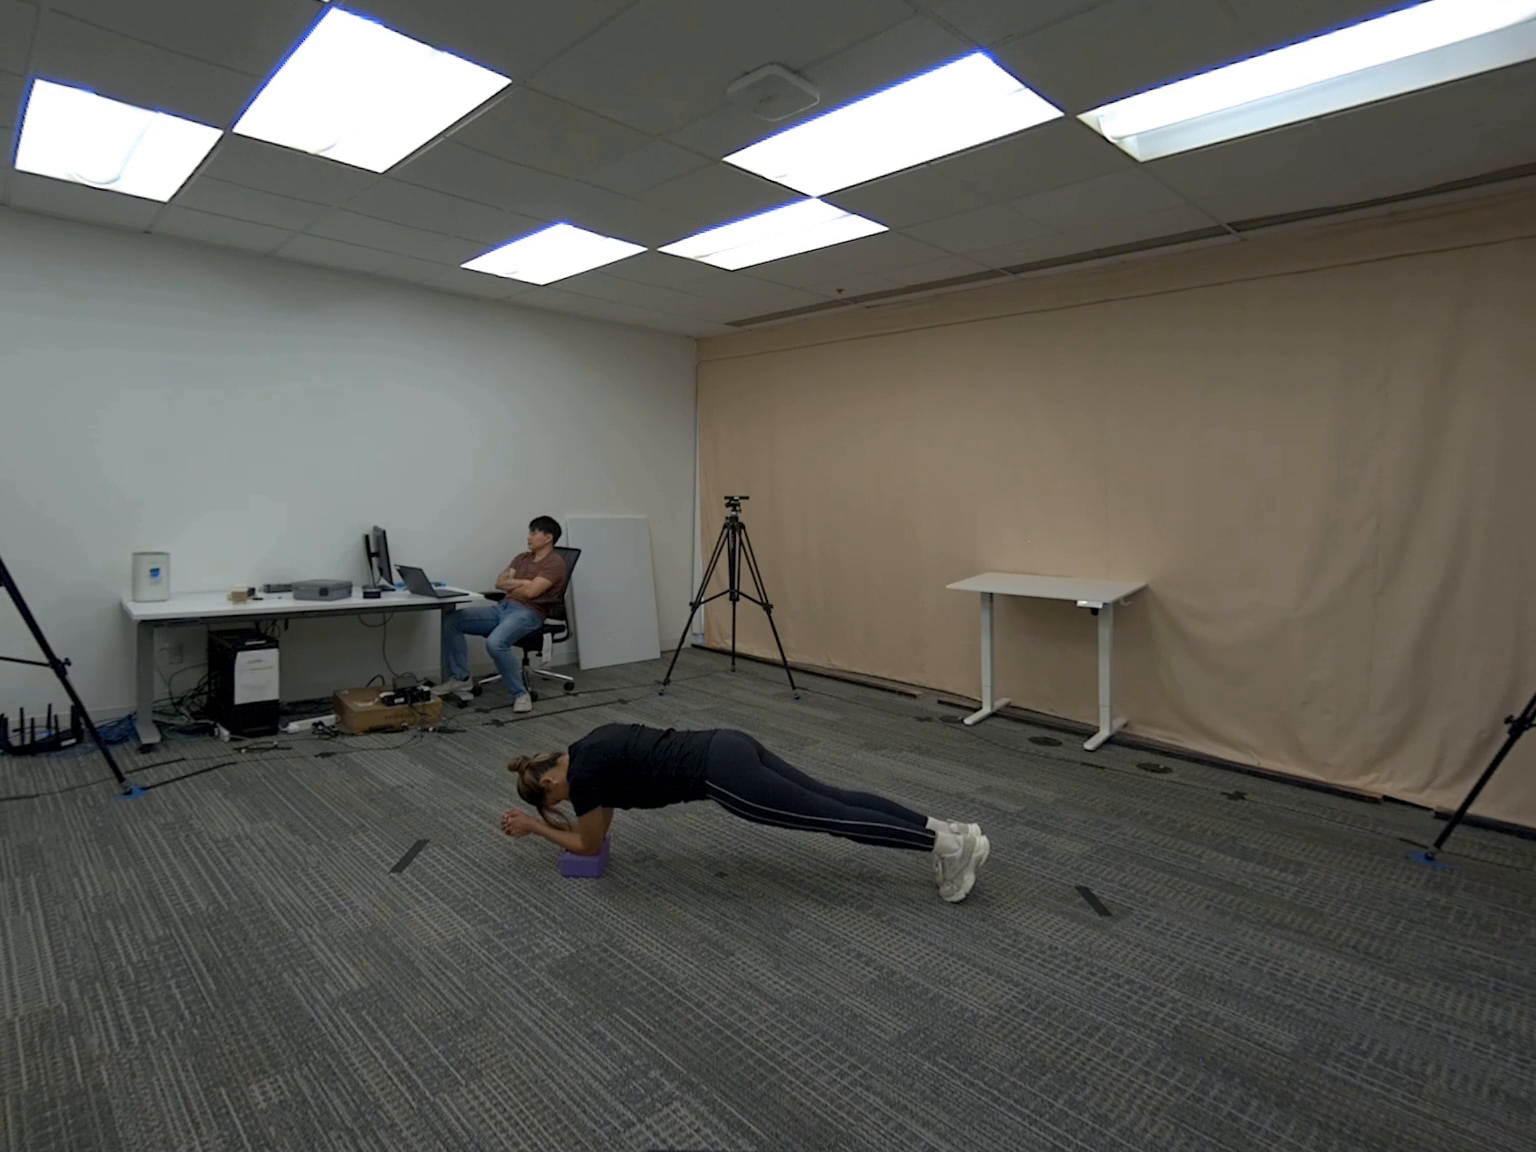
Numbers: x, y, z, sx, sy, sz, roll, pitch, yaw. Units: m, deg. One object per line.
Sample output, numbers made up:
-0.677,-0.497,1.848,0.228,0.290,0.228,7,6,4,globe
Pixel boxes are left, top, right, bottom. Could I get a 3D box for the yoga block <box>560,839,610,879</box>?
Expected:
-0.686,1.040,3.164,0.149,0.076,0.230,0,5,1,yoga block
